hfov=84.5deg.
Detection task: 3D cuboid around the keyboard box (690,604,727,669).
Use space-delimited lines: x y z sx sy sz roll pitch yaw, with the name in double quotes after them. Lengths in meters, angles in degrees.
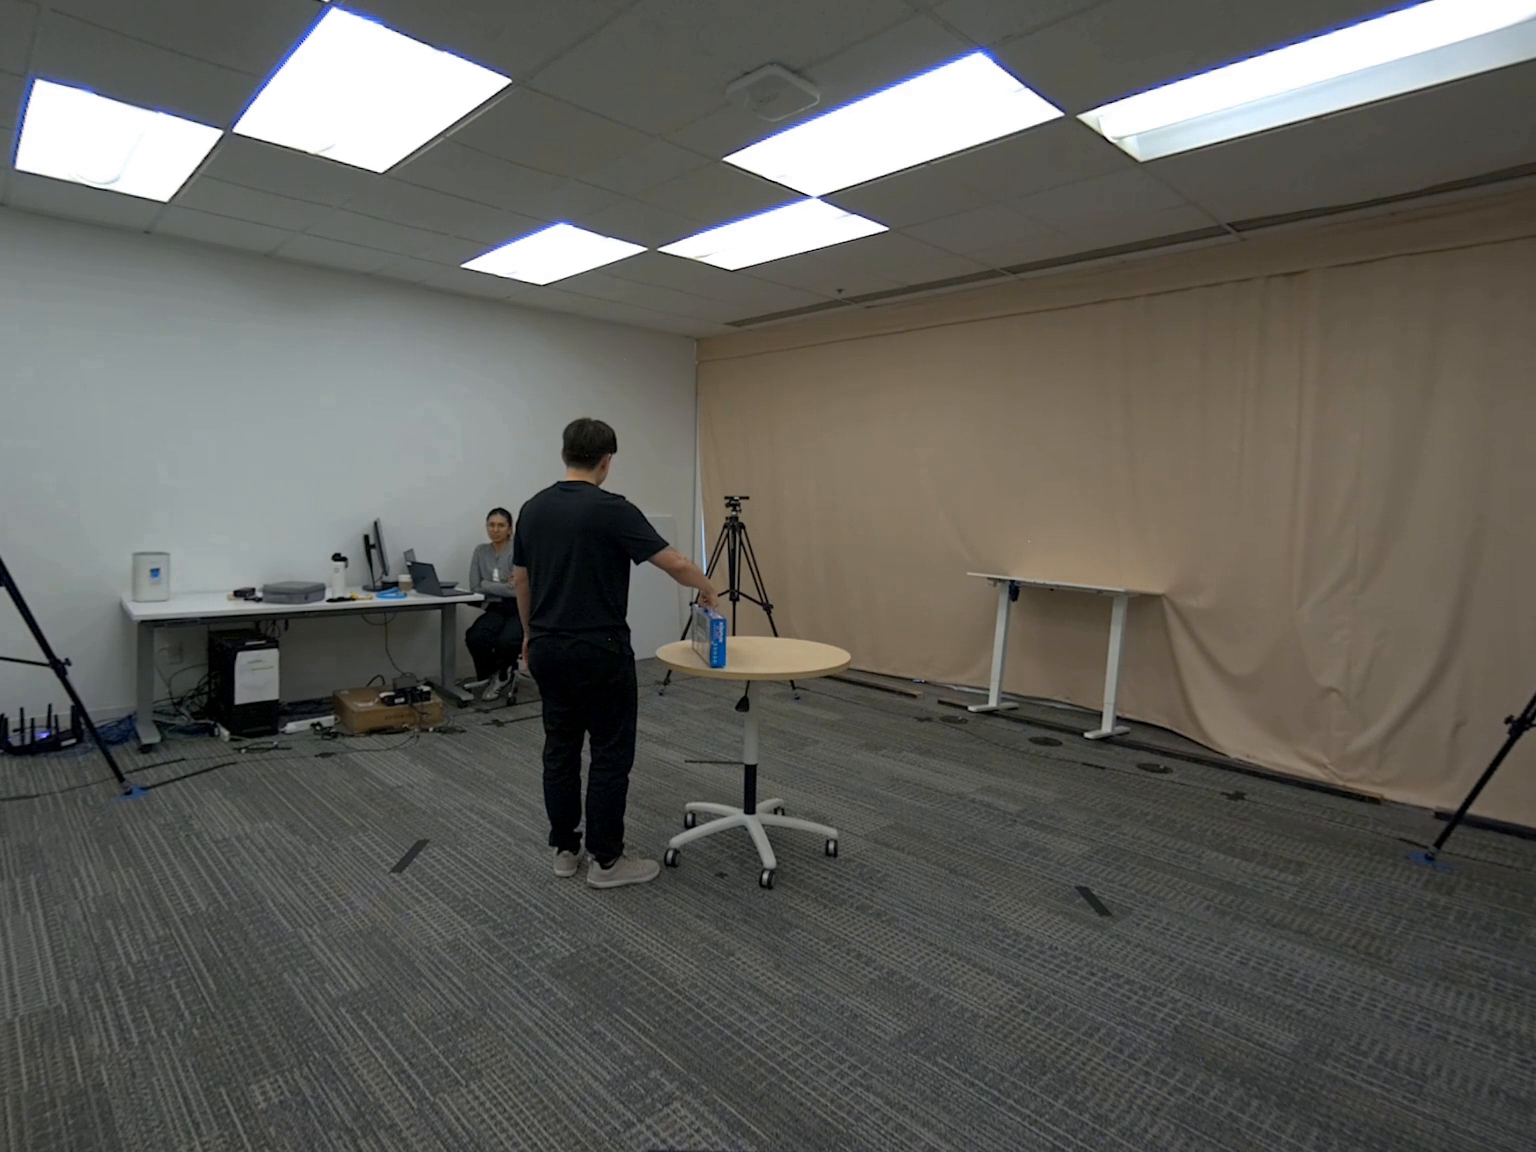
-0.233 0.221 3.208 0.058 0.175 0.442 1 5 -13 "keyboard box"
